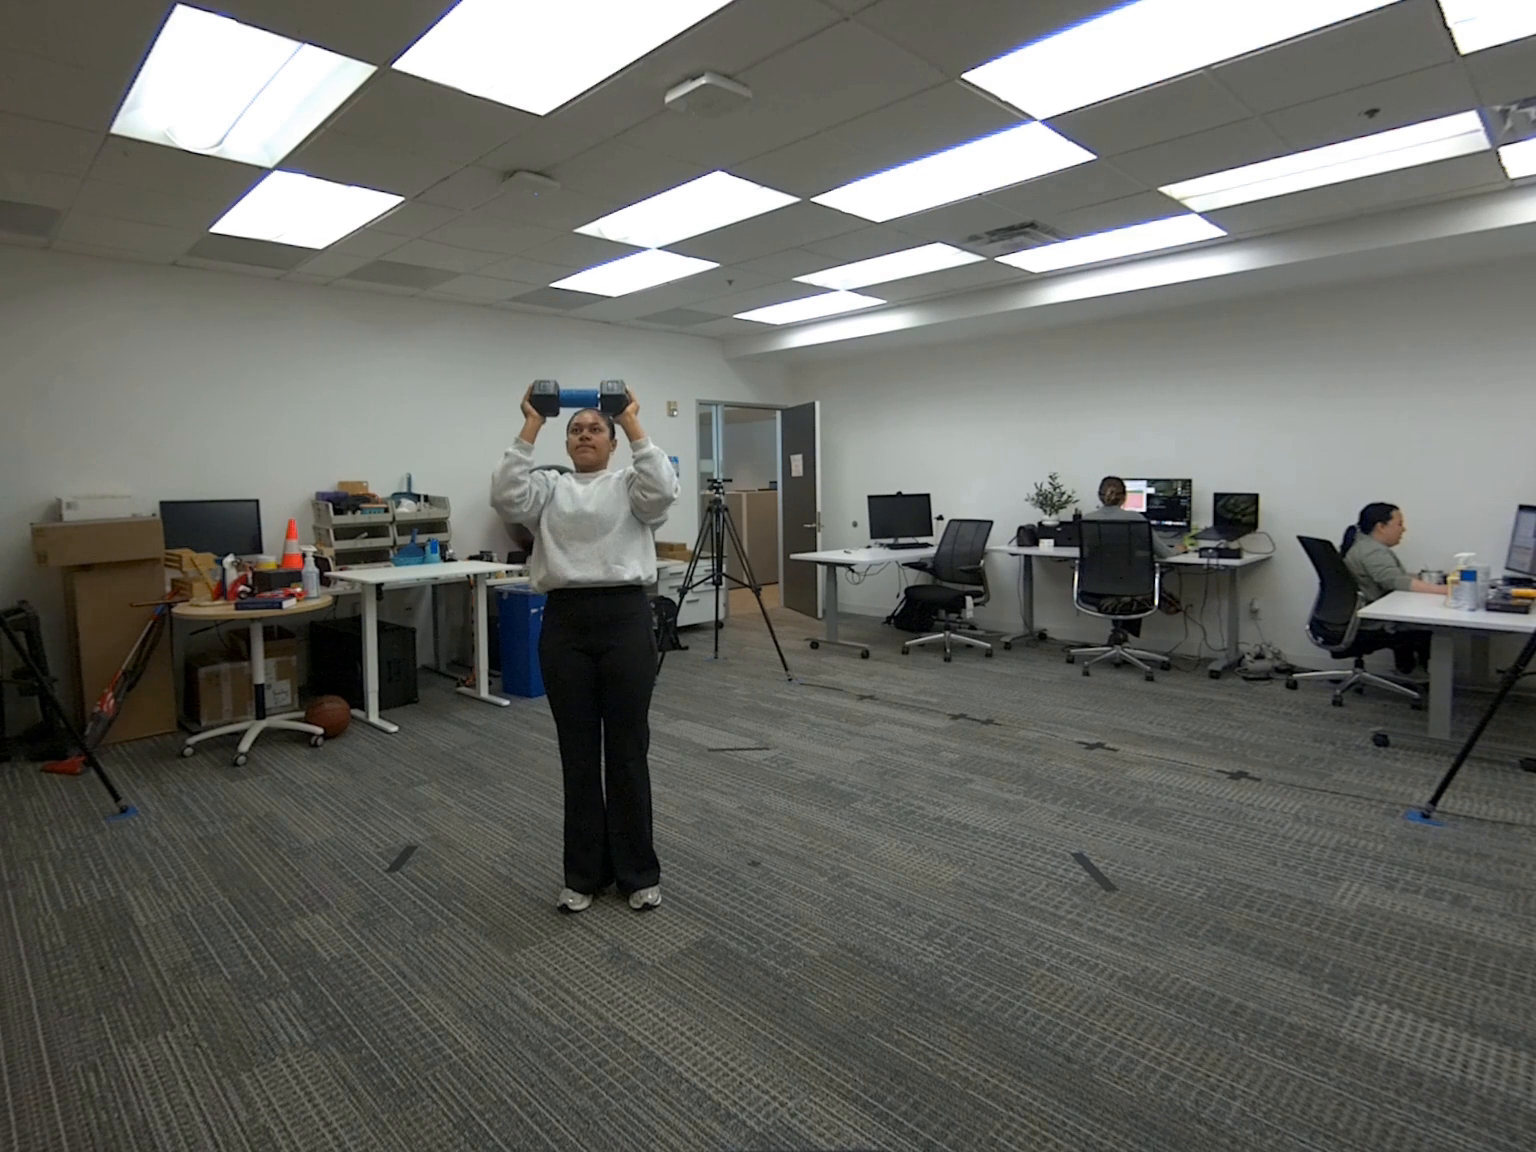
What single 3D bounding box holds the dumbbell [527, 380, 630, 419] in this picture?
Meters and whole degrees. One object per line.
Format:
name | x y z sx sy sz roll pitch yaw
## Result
dumbbell | -0.590 -0.573 2.721 0.292 0.120 0.112 -1 34 -6
